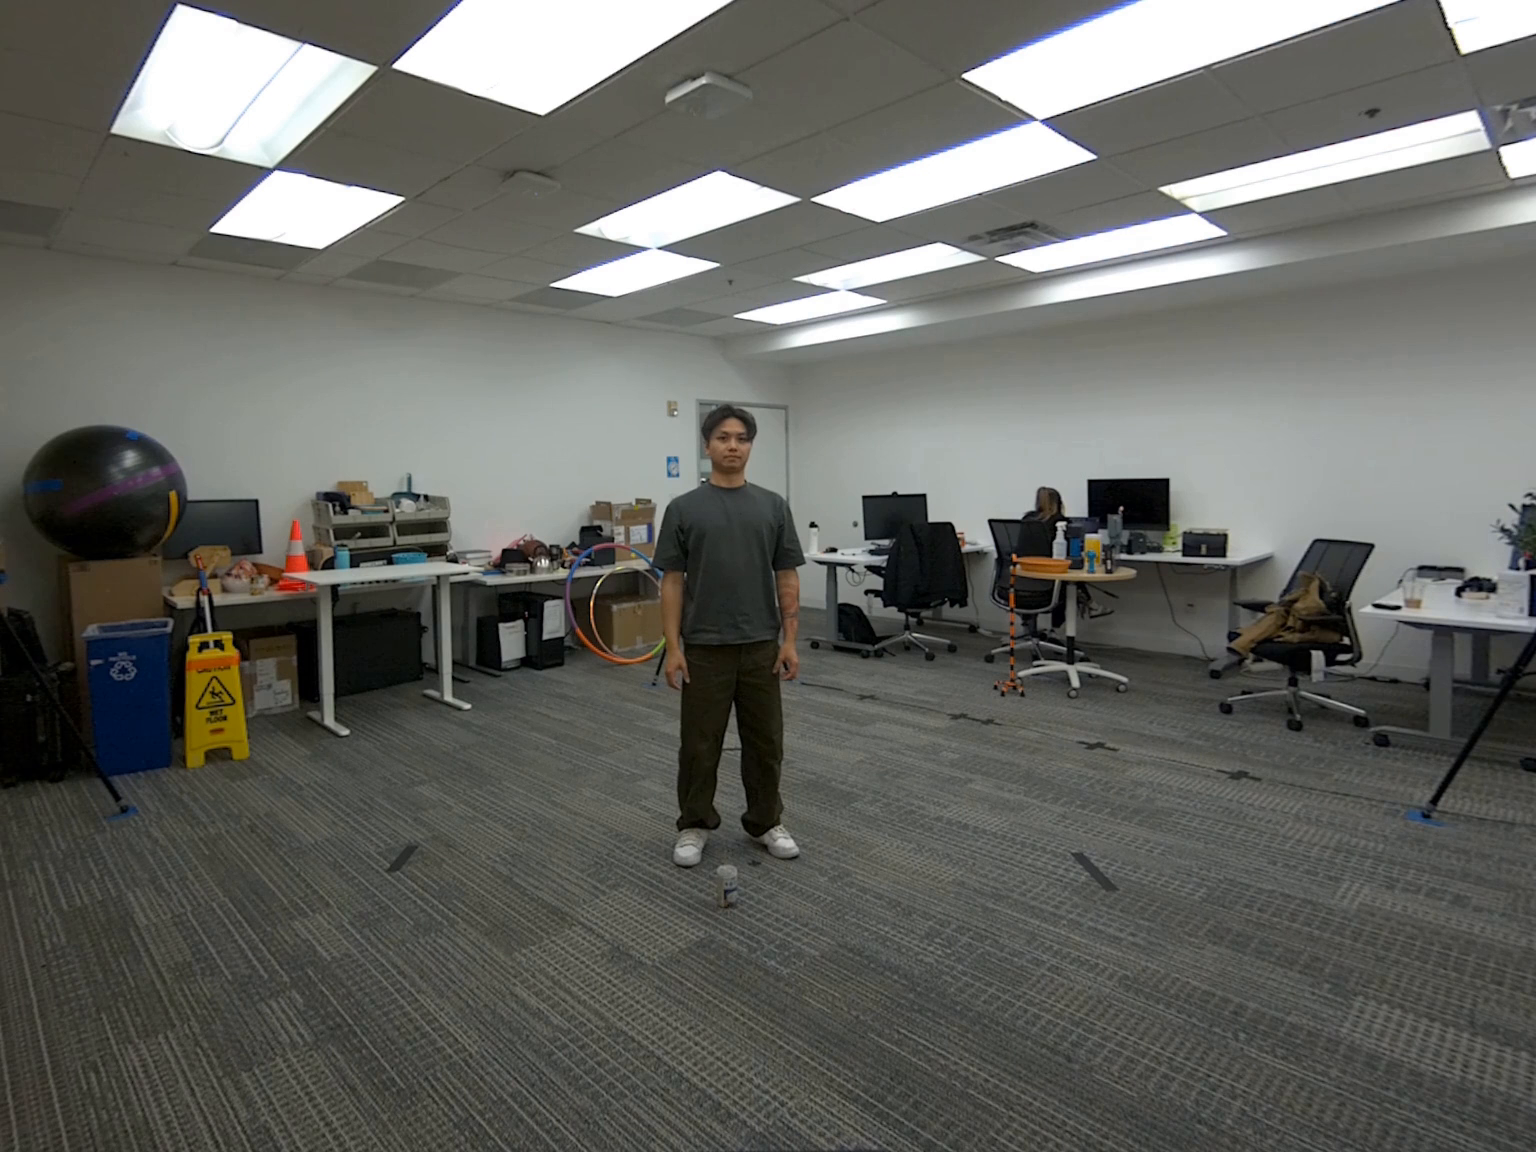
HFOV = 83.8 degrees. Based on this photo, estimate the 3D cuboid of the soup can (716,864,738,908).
[{"bbox_3d":[-0.128,1.018,2.810,0.067,0.121,0.067,0,4,-2],"label":"soup can"}]
